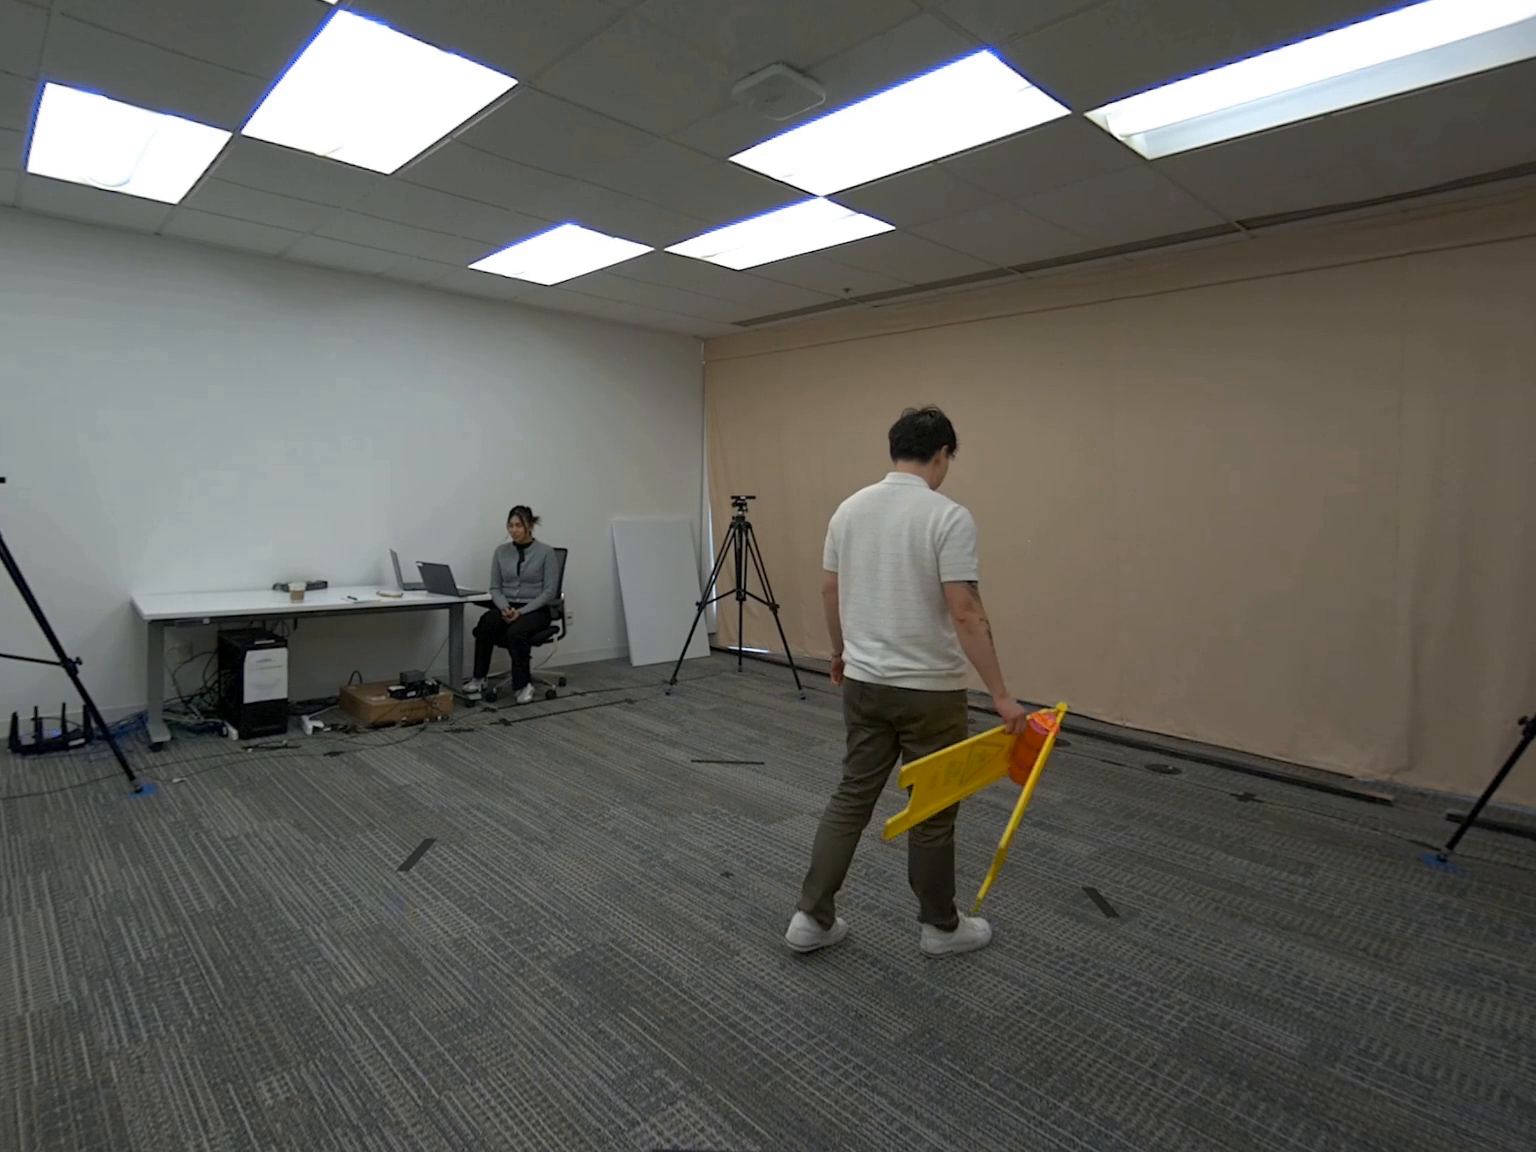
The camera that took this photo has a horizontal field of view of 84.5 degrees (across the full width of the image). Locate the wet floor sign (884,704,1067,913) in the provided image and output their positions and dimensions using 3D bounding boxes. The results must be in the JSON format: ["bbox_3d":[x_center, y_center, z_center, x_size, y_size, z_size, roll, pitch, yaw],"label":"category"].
[{"bbox_3d":[0.643,0.568,2.337,0.298,0.277,0.639,34,43,31],"label":"wet floor sign"}]
